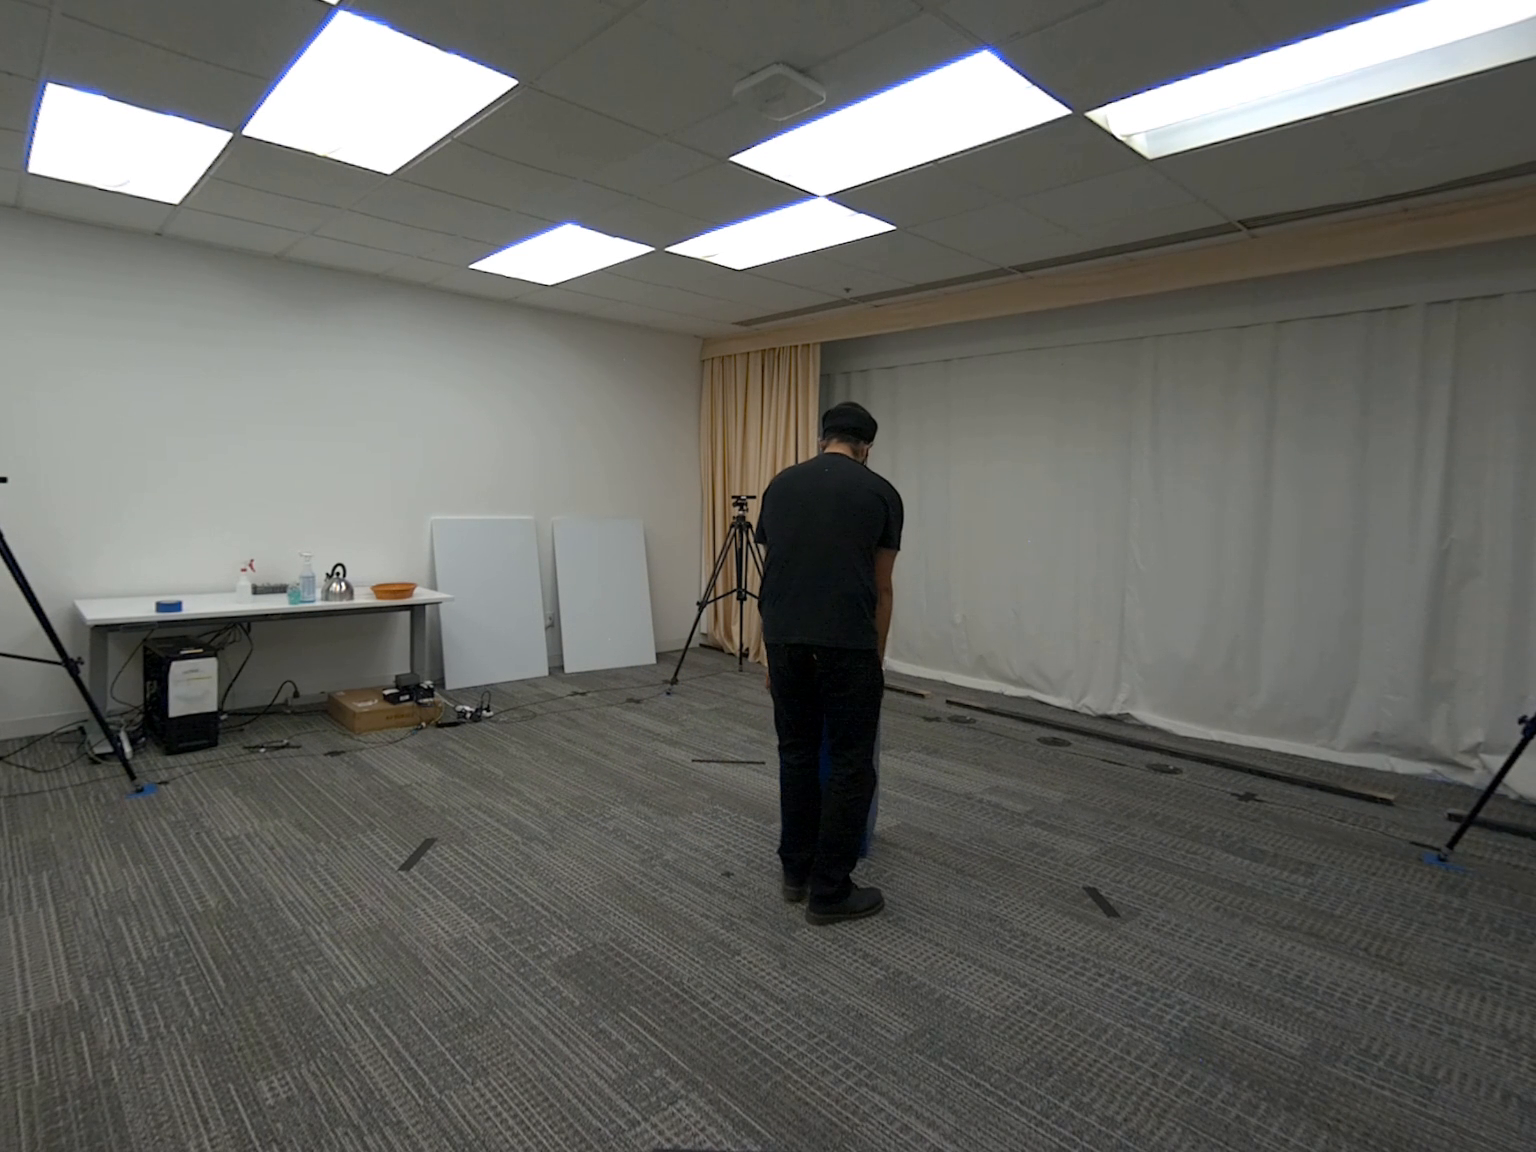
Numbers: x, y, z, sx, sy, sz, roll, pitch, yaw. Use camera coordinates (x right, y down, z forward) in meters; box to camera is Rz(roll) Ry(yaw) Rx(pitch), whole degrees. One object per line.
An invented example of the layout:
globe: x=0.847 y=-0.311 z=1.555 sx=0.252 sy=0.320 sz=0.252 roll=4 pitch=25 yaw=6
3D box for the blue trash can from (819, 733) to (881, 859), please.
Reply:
blue trash can: x=0.264 y=0.711 z=3.330 sx=0.383 sy=0.704 sz=0.374 roll=2 pitch=19 yaw=17
